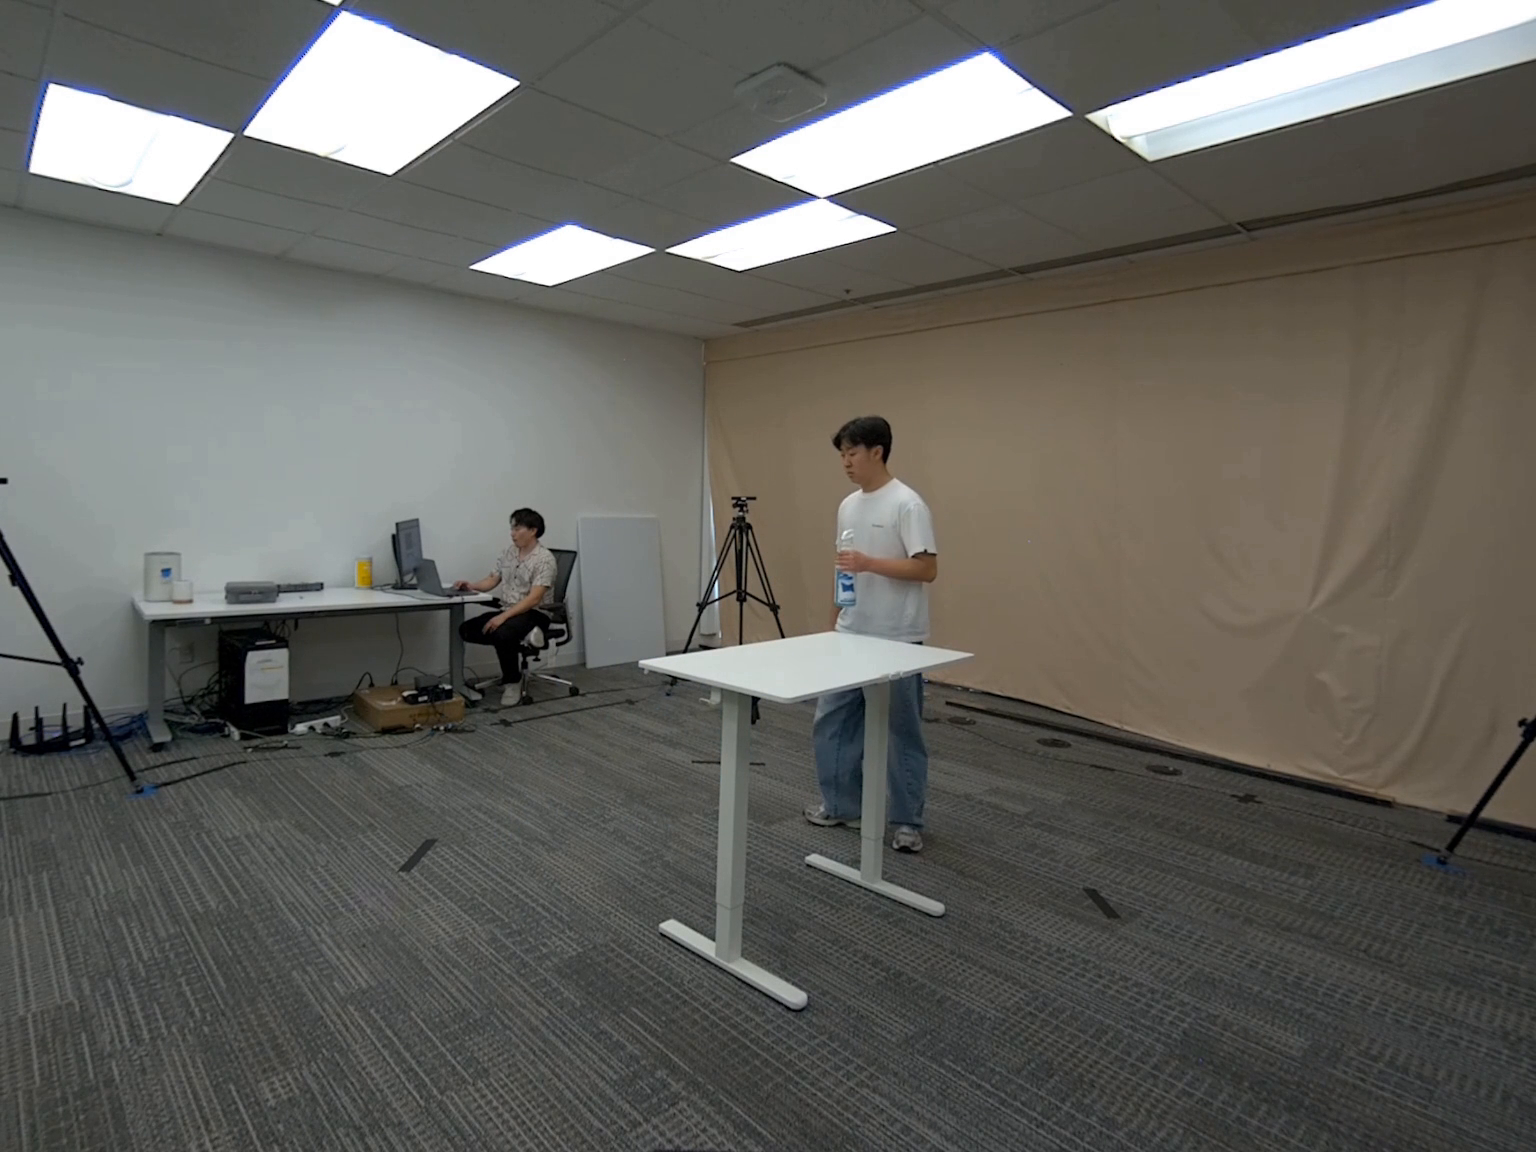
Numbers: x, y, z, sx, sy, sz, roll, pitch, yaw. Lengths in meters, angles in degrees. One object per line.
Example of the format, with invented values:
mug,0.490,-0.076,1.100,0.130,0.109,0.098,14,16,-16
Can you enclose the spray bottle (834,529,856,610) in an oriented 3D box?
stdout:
spray bottle,0.309,-0.027,3.301,0.088,0.296,0.089,-1,7,-32
